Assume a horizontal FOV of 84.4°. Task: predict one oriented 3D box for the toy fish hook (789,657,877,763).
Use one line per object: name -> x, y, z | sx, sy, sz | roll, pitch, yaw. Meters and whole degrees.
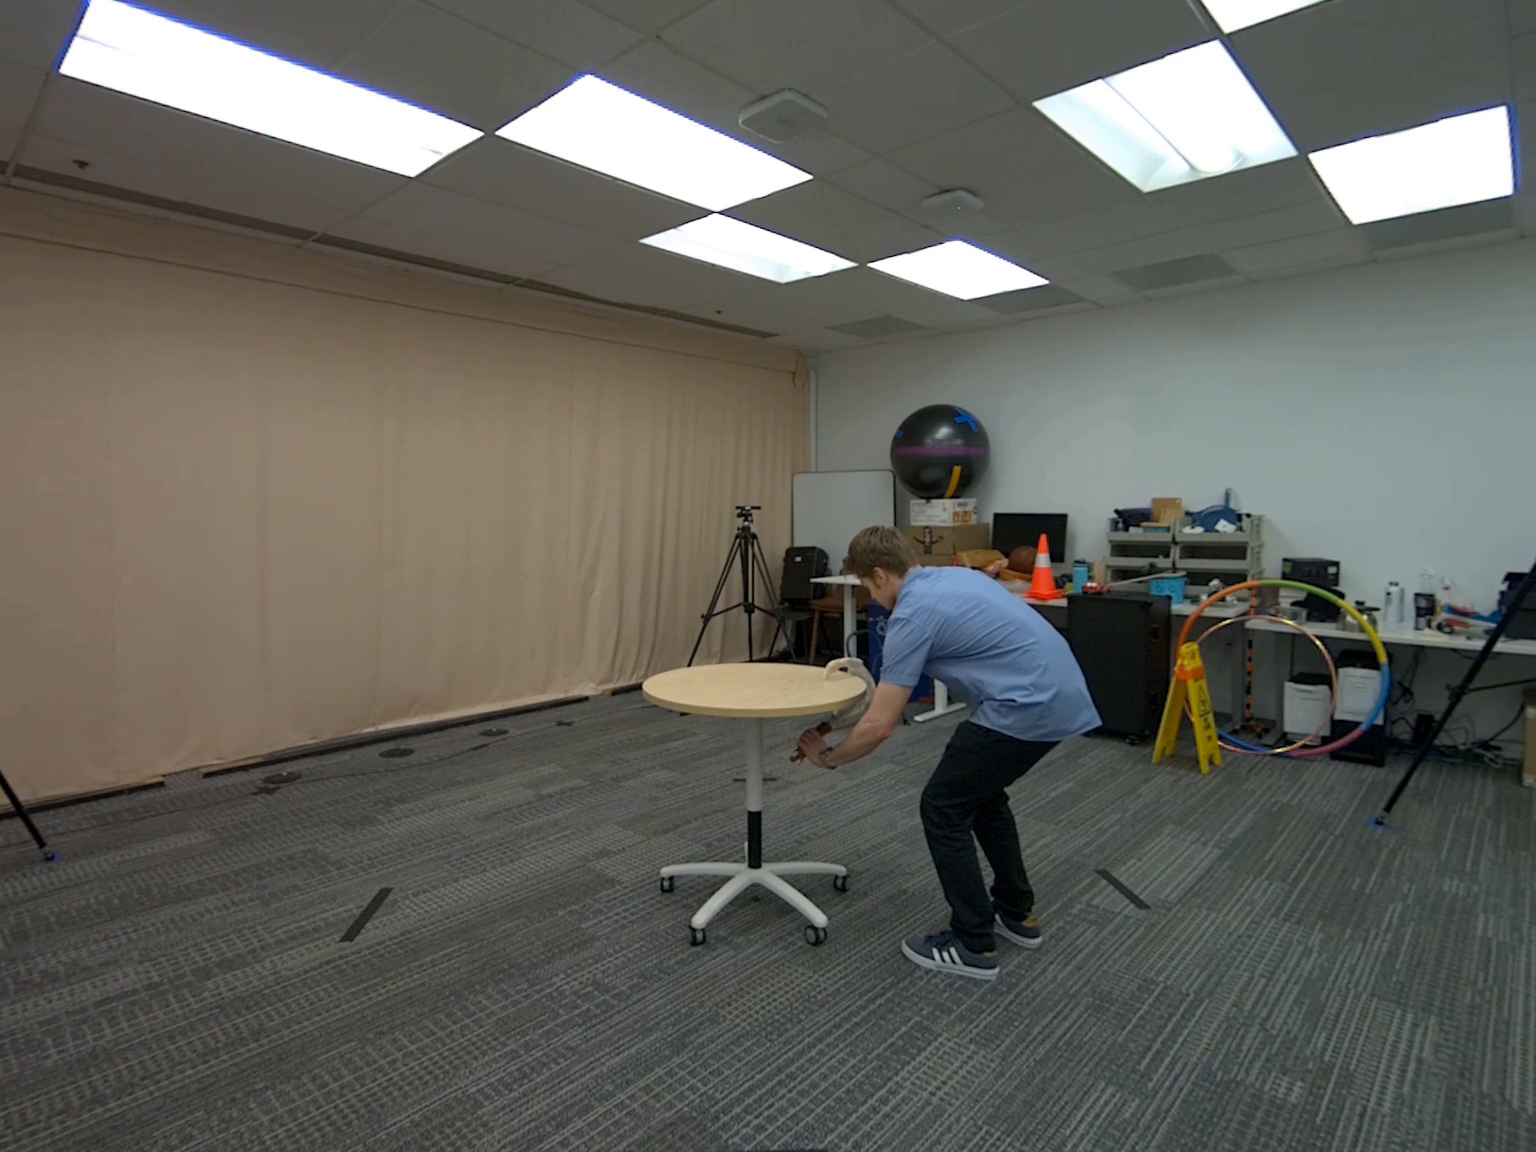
toy fish hook -> 0.215, 0.456, 2.887 | 0.498, 0.226, 0.049 | -33, -5, -40
